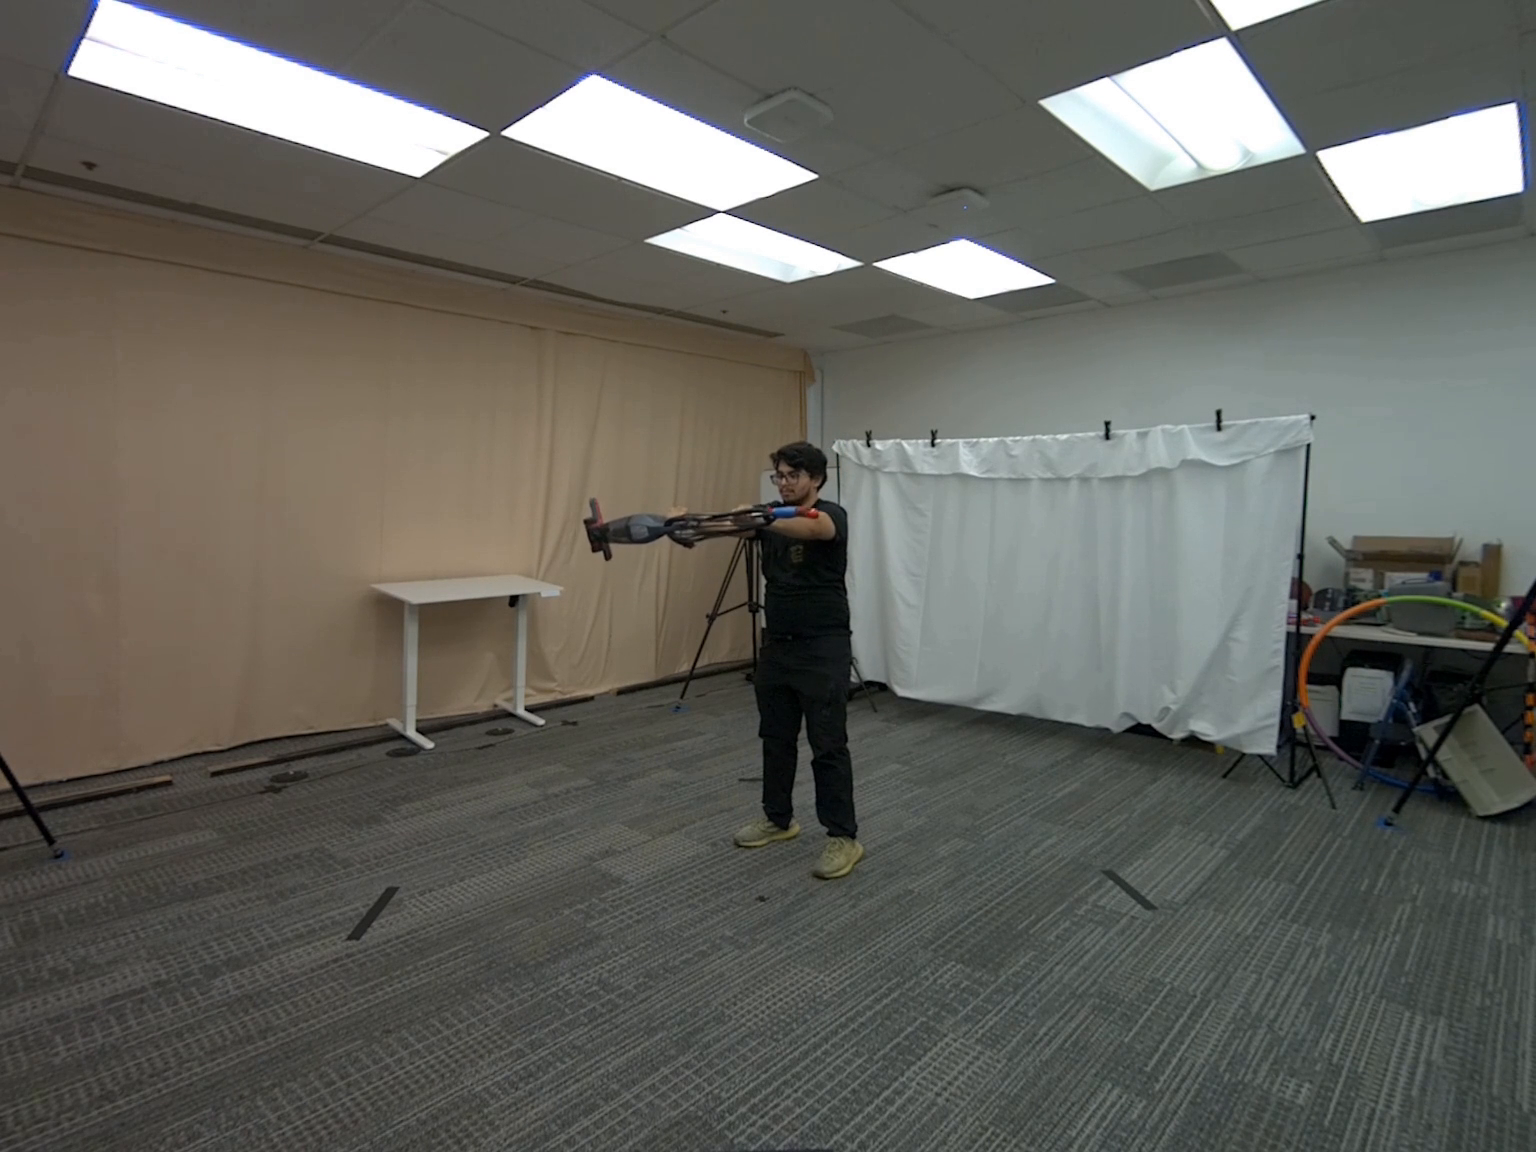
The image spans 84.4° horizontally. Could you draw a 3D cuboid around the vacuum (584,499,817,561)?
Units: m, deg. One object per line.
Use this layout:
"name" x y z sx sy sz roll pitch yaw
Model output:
"vacuum" -0.258 -0.176 2.933 1.082 0.250 0.141 -1 18 39
